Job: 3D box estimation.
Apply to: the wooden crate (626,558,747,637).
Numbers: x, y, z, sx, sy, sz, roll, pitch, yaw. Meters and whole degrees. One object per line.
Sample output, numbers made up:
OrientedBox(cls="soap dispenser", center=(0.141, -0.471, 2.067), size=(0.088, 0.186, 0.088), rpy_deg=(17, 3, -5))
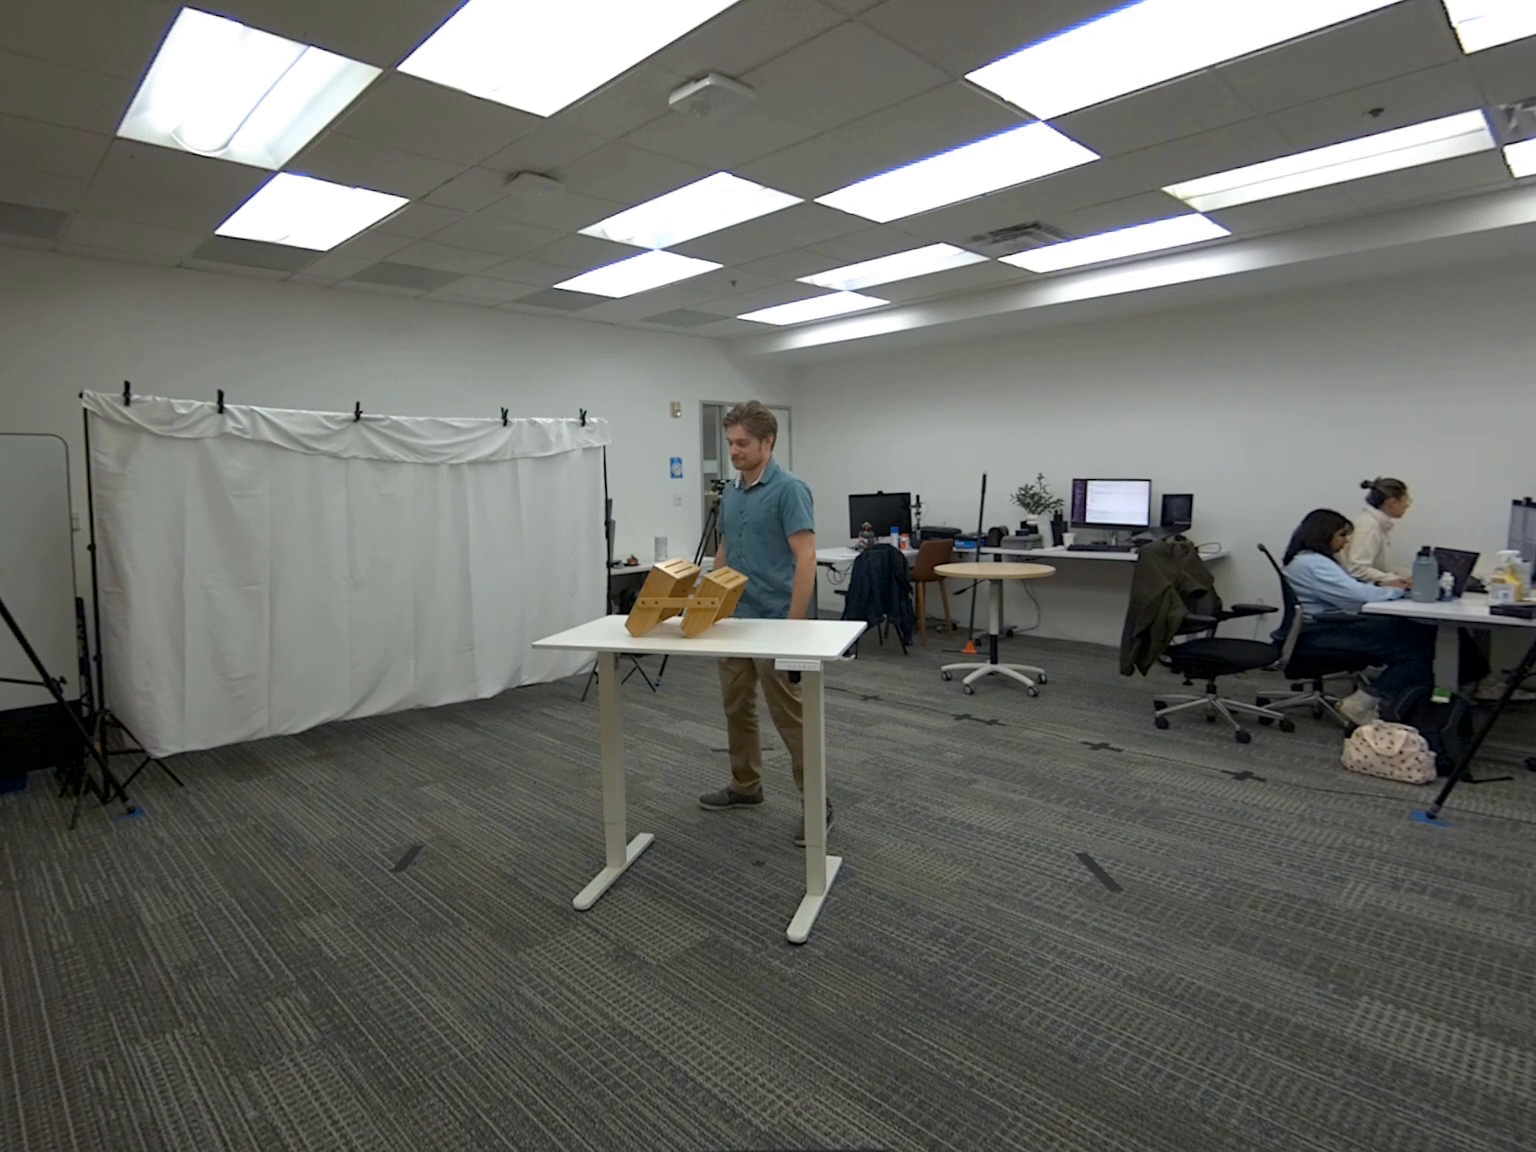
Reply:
OrientedBox(cls="wooden crate", center=(-0.269, 0.098, 2.932), size=(0.277, 0.300, 0.321), rpy_deg=(27, 11, 10))
